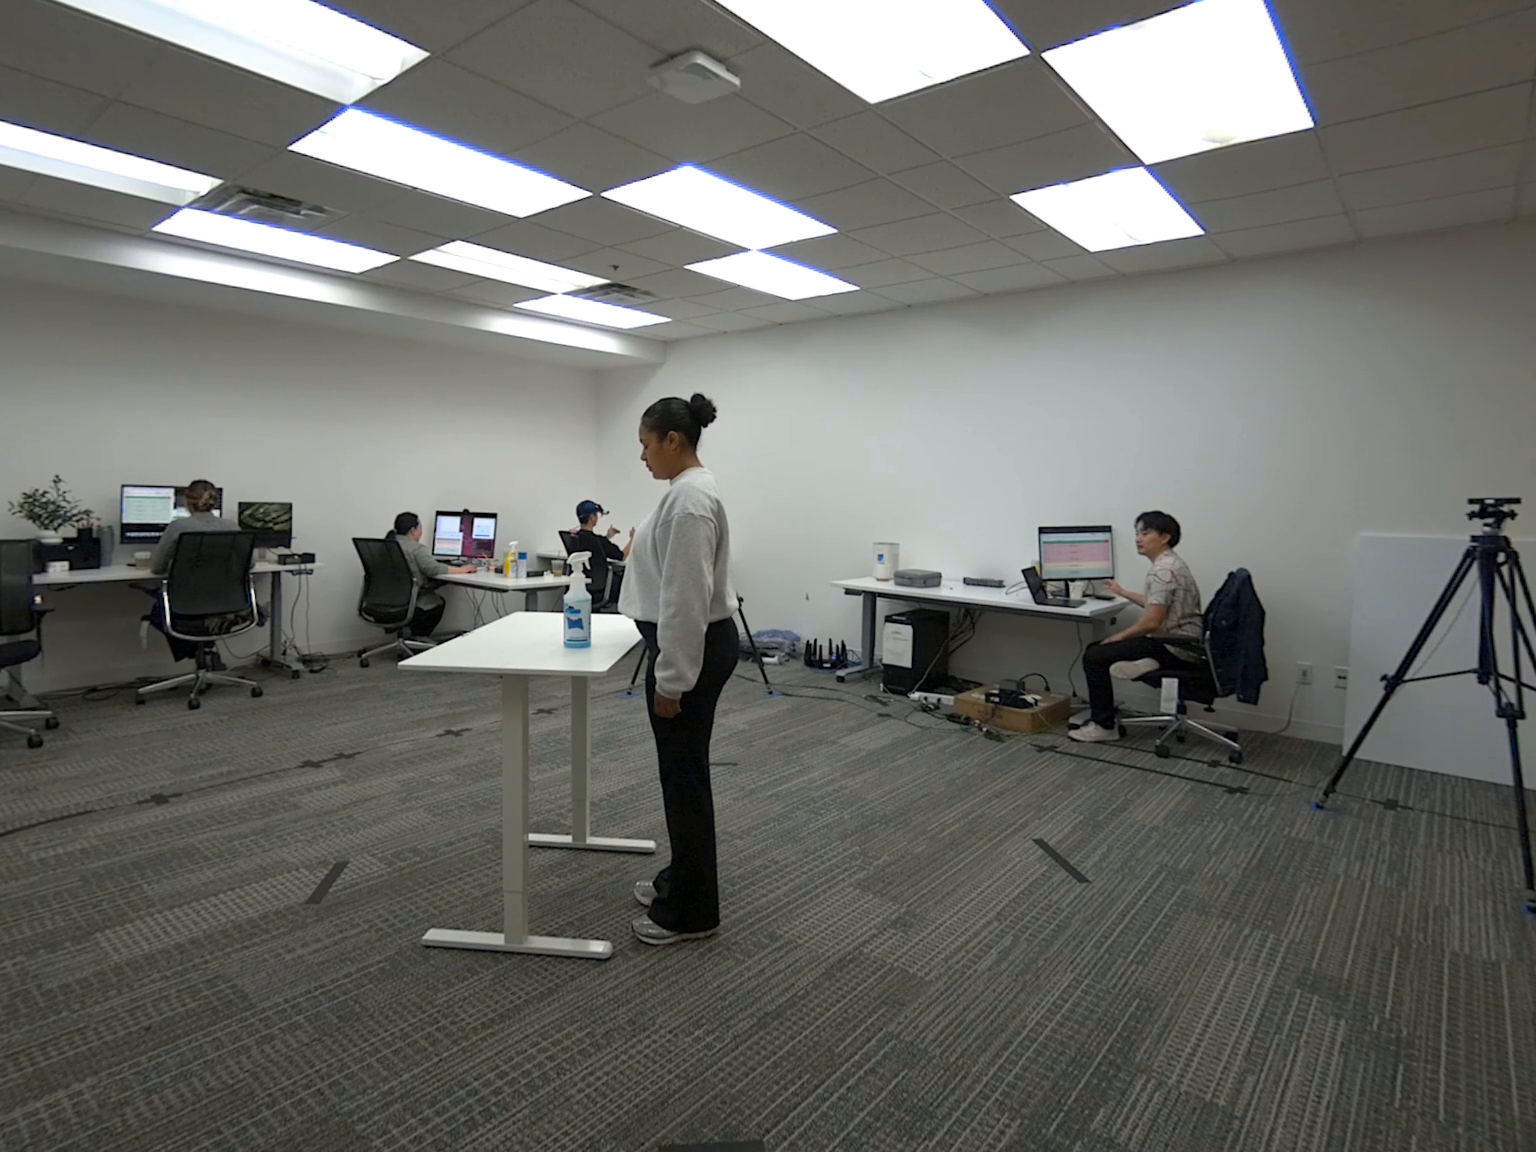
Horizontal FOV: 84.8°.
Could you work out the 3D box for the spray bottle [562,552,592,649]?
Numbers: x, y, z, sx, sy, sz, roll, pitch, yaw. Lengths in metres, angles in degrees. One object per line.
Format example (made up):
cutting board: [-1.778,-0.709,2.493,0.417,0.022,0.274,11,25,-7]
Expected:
spray bottle: [-0.613,0.074,2.687,0.088,0.297,0.089,0,3,-25]
